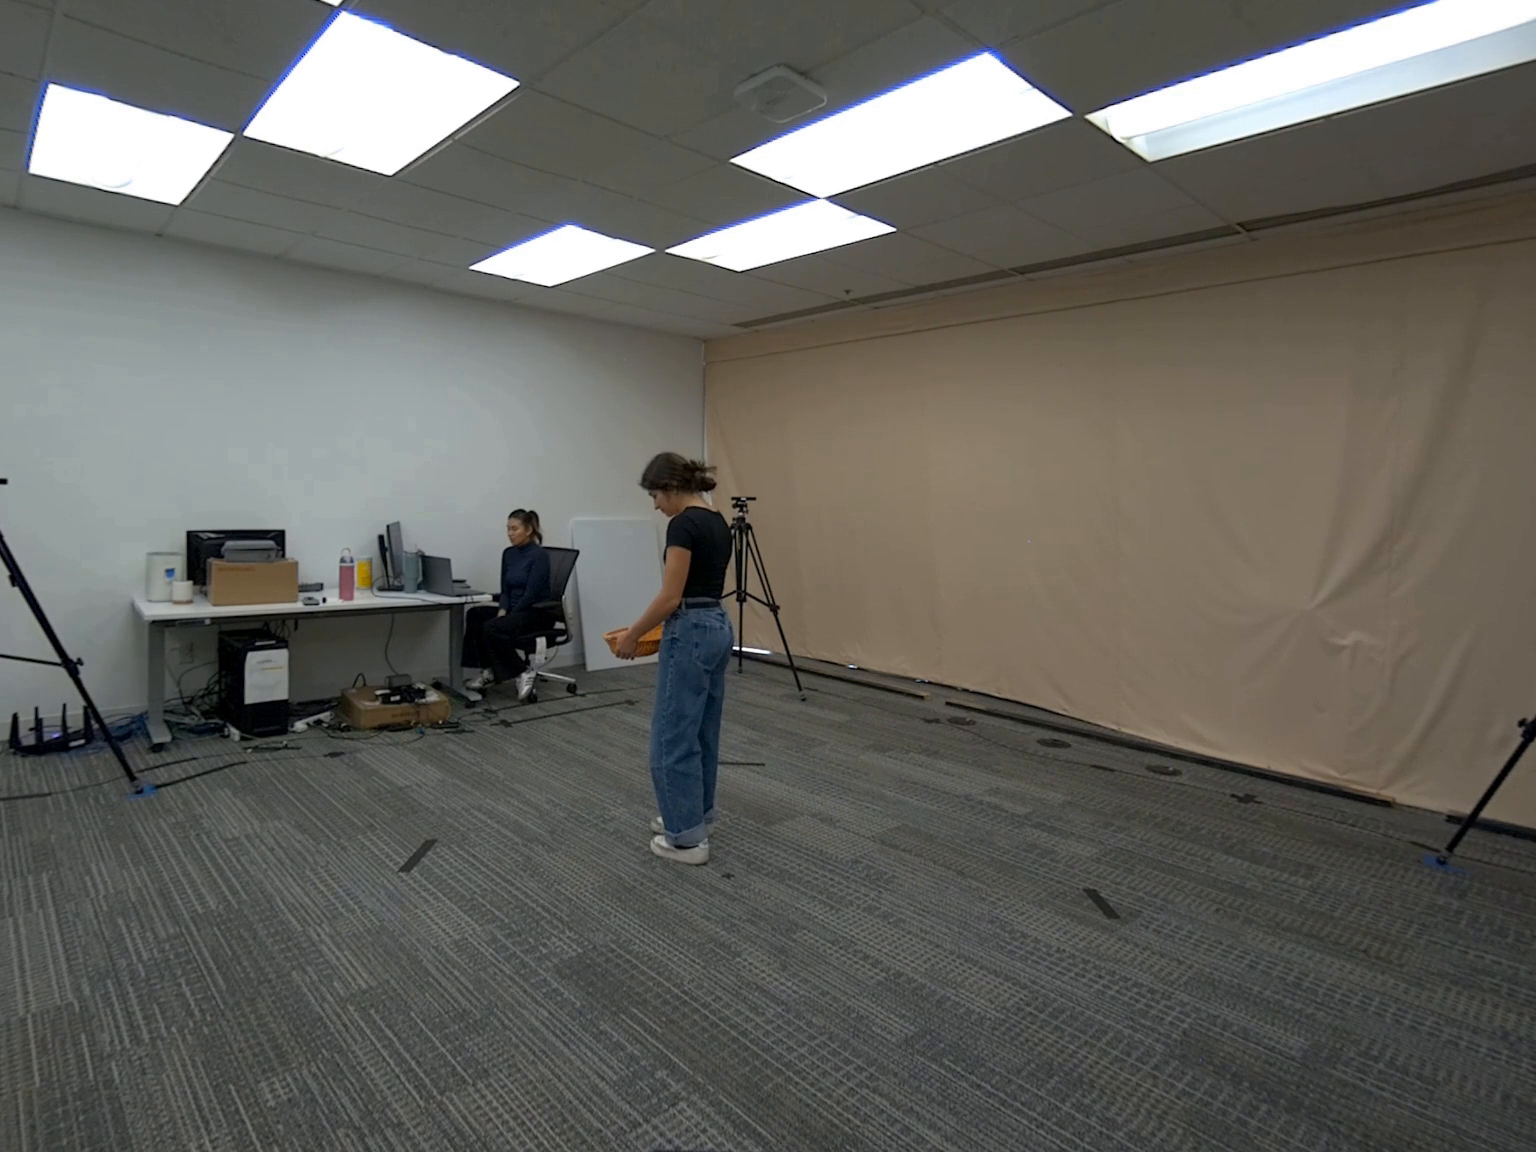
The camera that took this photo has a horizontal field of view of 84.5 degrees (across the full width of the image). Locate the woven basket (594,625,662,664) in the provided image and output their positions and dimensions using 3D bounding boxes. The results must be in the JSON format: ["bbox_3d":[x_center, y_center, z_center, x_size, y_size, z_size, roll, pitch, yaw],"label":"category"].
[{"bbox_3d":[-0.507,0.271,3.417,0.256,0.073,0.346,3,6,18],"label":"woven basket"}]
